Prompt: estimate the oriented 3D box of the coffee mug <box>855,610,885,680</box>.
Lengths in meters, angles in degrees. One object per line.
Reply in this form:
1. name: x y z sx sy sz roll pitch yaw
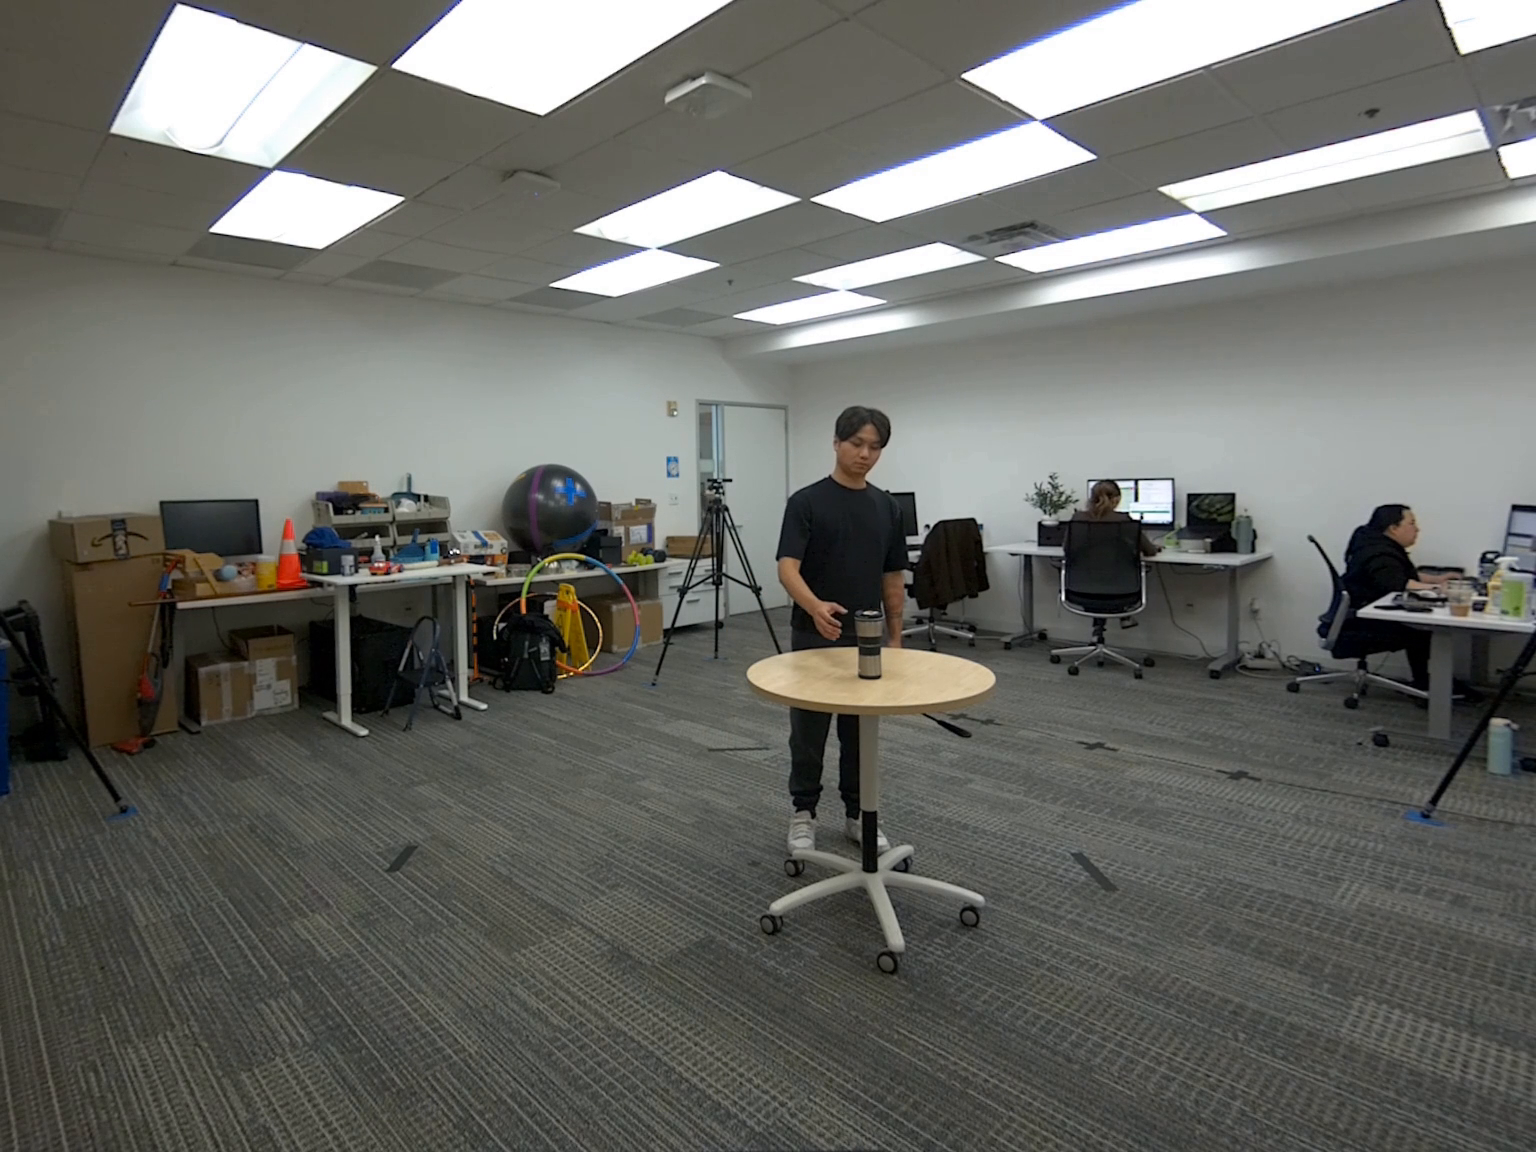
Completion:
1. coffee mug: 0.326 0.212 2.637 0.090 0.202 0.119 -2 6 38
